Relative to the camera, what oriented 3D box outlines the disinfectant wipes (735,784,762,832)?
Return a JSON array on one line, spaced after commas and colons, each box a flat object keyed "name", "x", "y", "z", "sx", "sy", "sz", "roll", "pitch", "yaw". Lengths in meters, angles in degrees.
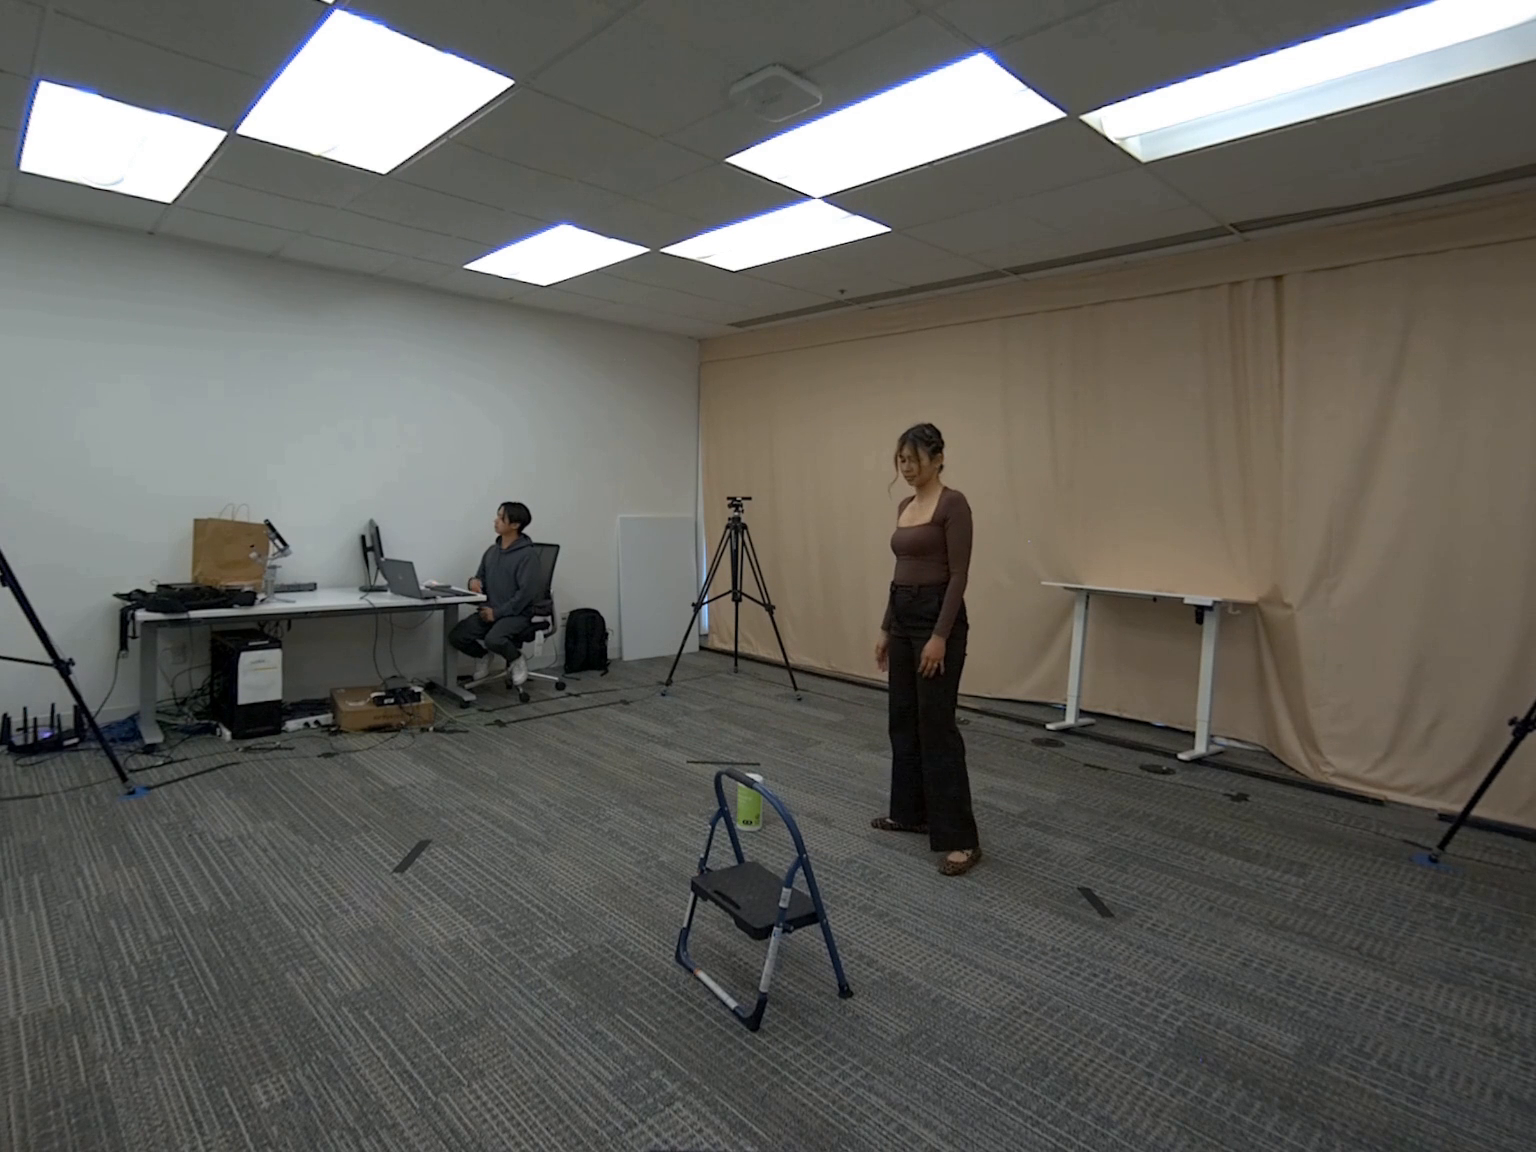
[{"name": "disinfectant wipes", "x": -0.091, "y": 0.954, "z": 3.577, "sx": 0.118, "sy": 0.216, "sz": 0.118, "roll": 0, "pitch": 6, "yaw": -1}]
